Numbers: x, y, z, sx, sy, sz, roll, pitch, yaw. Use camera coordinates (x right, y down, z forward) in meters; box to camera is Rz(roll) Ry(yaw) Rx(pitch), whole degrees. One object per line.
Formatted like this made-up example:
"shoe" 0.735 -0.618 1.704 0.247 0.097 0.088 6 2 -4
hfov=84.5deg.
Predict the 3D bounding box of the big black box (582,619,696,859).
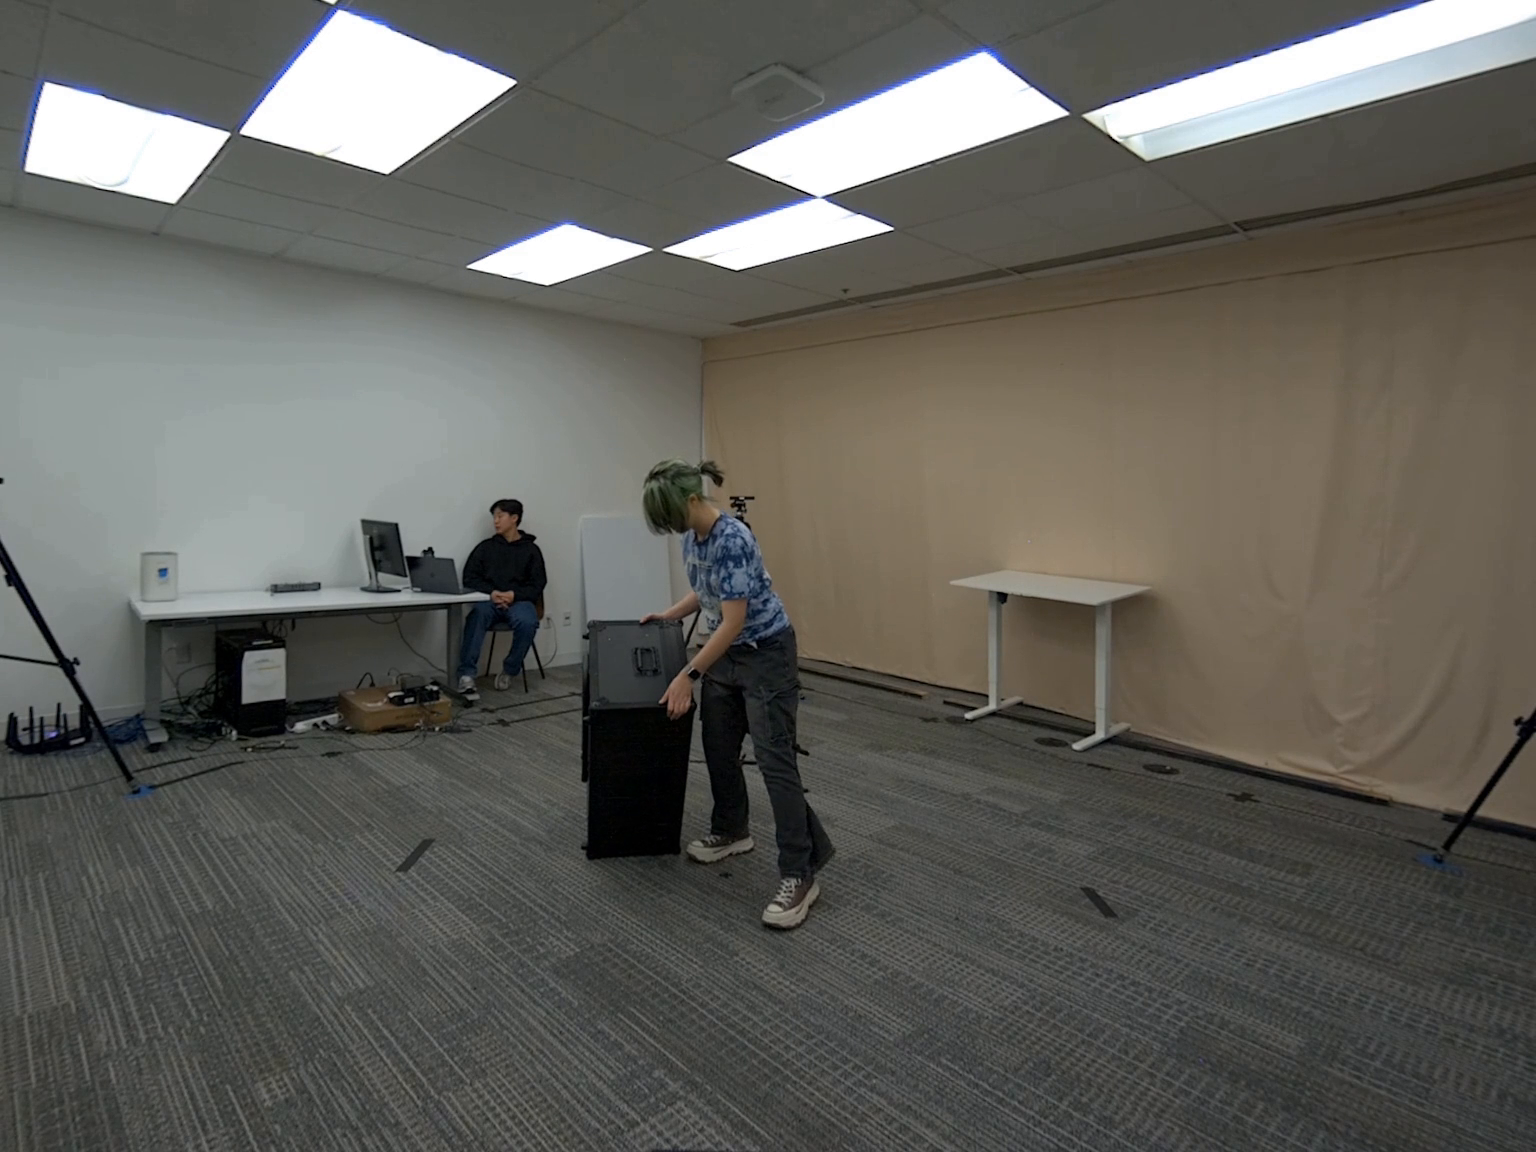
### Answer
"big black box" -0.532 0.652 3.244 0.393 0.846 0.535 0 34 -11
